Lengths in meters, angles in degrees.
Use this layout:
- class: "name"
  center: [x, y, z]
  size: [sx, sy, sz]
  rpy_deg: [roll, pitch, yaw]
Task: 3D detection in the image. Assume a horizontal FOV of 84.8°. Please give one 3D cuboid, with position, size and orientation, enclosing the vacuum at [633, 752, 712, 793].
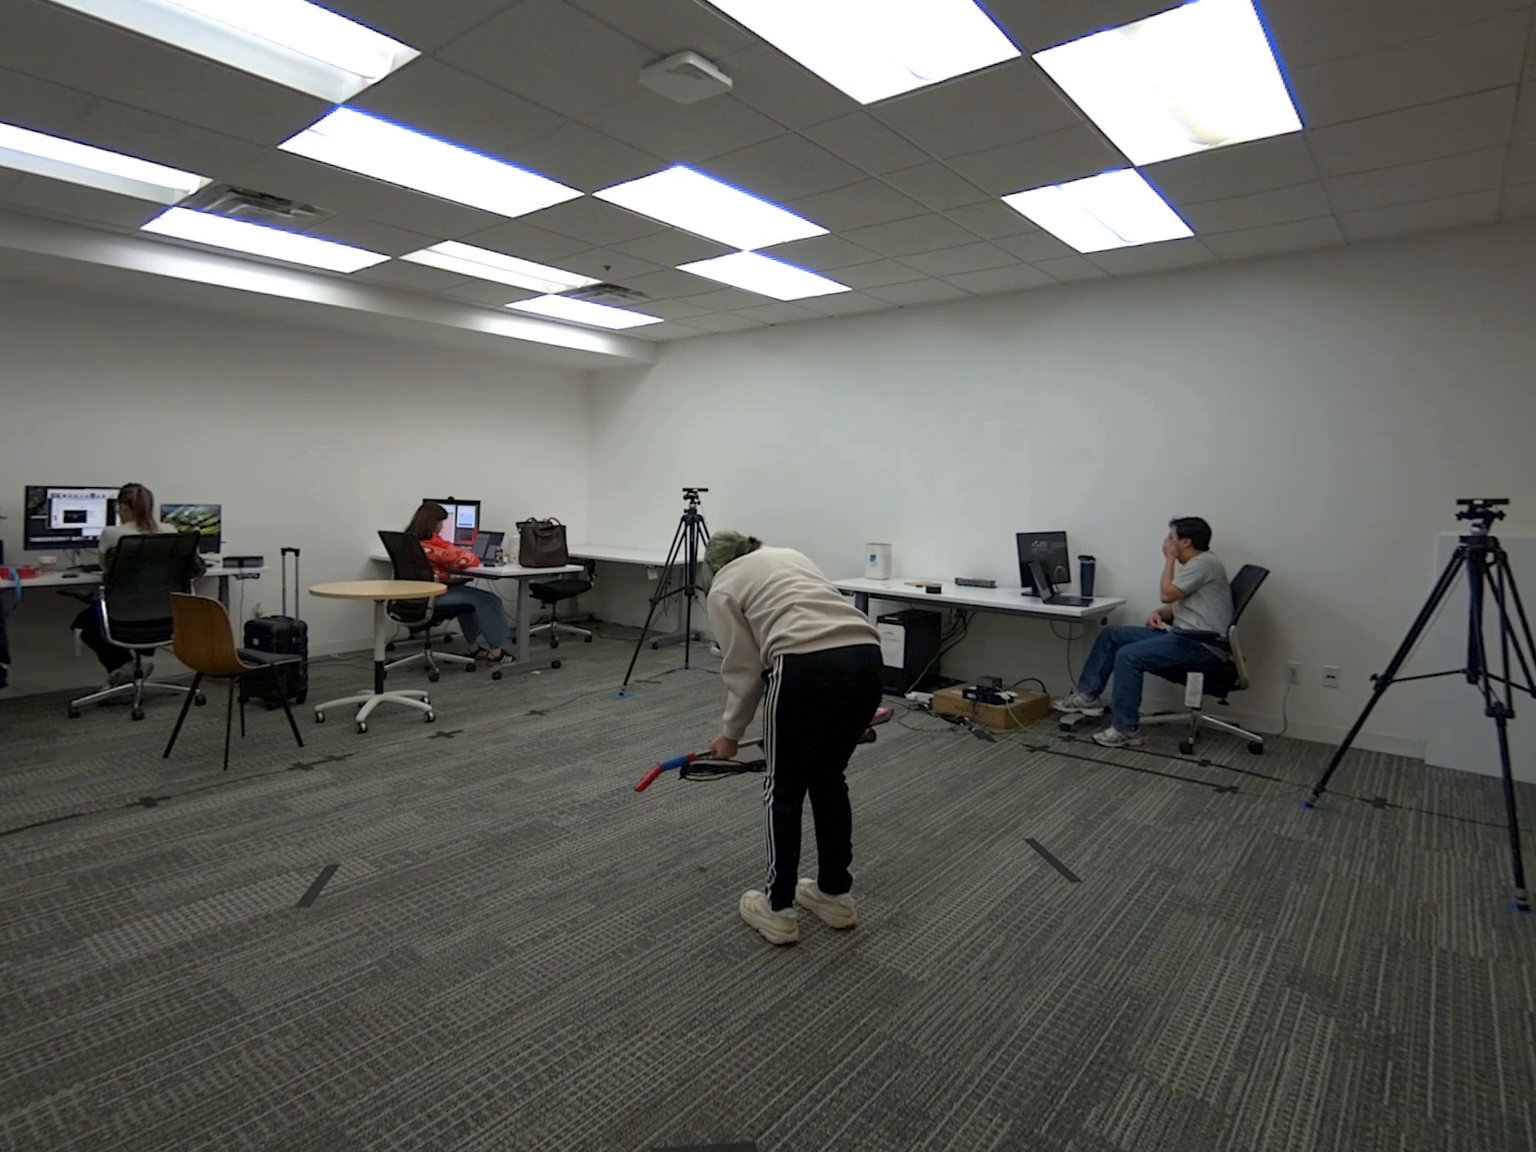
- class: "vacuum"
  center: [-0.014, 0.620, 2.941]
  size: [1.020, 0.145, 0.257]
  rpy_deg: [-7, -8, -40]
